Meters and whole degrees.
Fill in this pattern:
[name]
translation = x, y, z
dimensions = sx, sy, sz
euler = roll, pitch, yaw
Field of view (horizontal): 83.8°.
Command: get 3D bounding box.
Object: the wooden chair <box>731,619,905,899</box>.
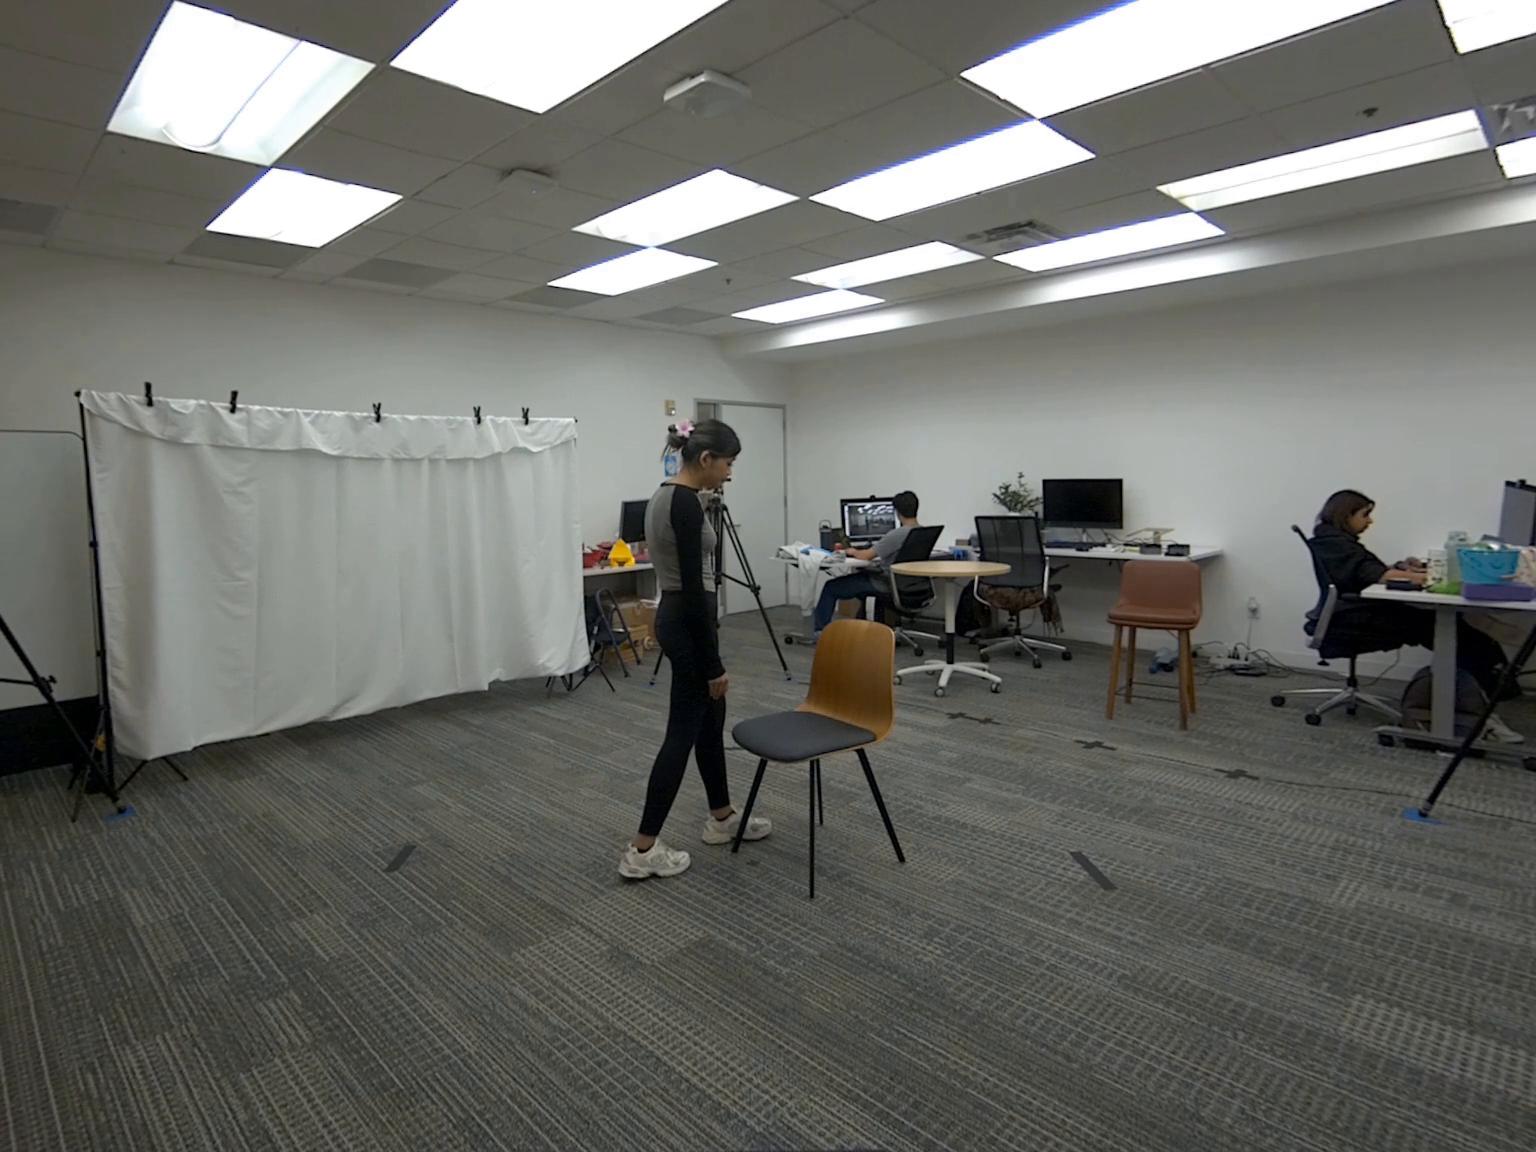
[wooden chair]
translation = 0.170, 0.609, 3.100
dimensions = 0.508, 0.876, 0.492
euler = 1, 3, -37
